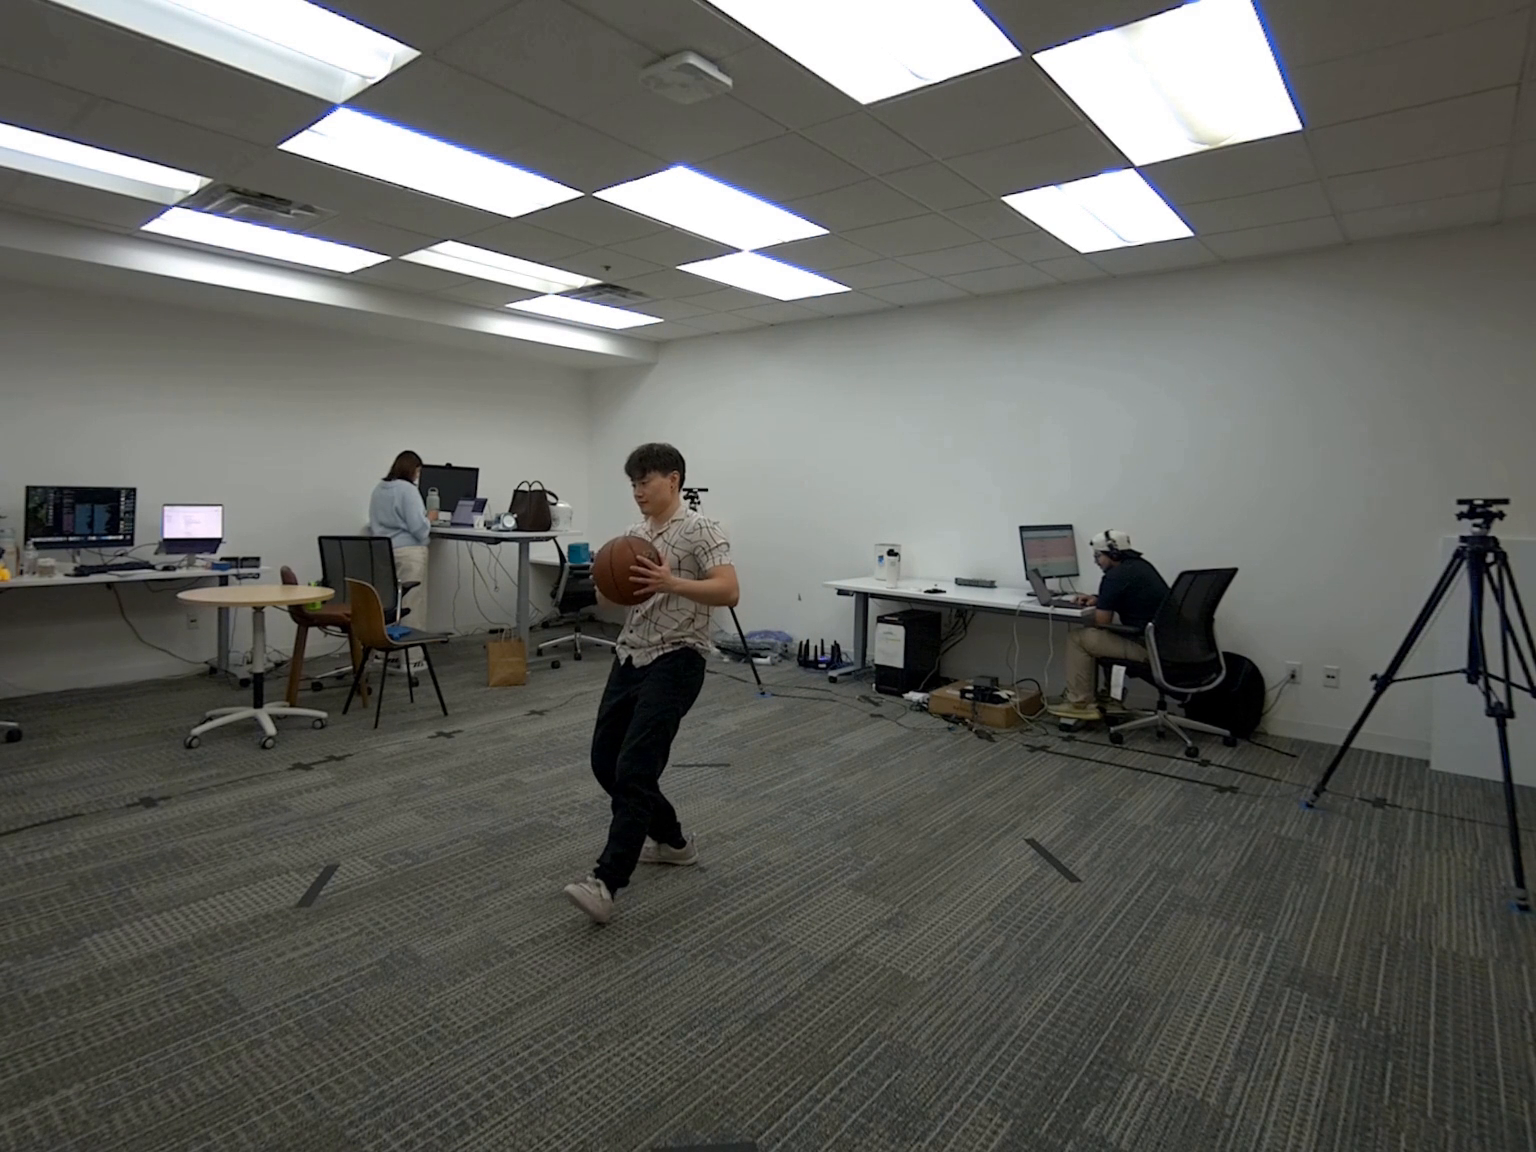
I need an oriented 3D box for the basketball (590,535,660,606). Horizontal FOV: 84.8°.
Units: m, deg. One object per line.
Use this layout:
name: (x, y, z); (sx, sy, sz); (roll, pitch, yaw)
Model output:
basketball: (-0.487, -0.036, 2.869); (0.235, 0.235, 0.237); (1, 4, -2)
